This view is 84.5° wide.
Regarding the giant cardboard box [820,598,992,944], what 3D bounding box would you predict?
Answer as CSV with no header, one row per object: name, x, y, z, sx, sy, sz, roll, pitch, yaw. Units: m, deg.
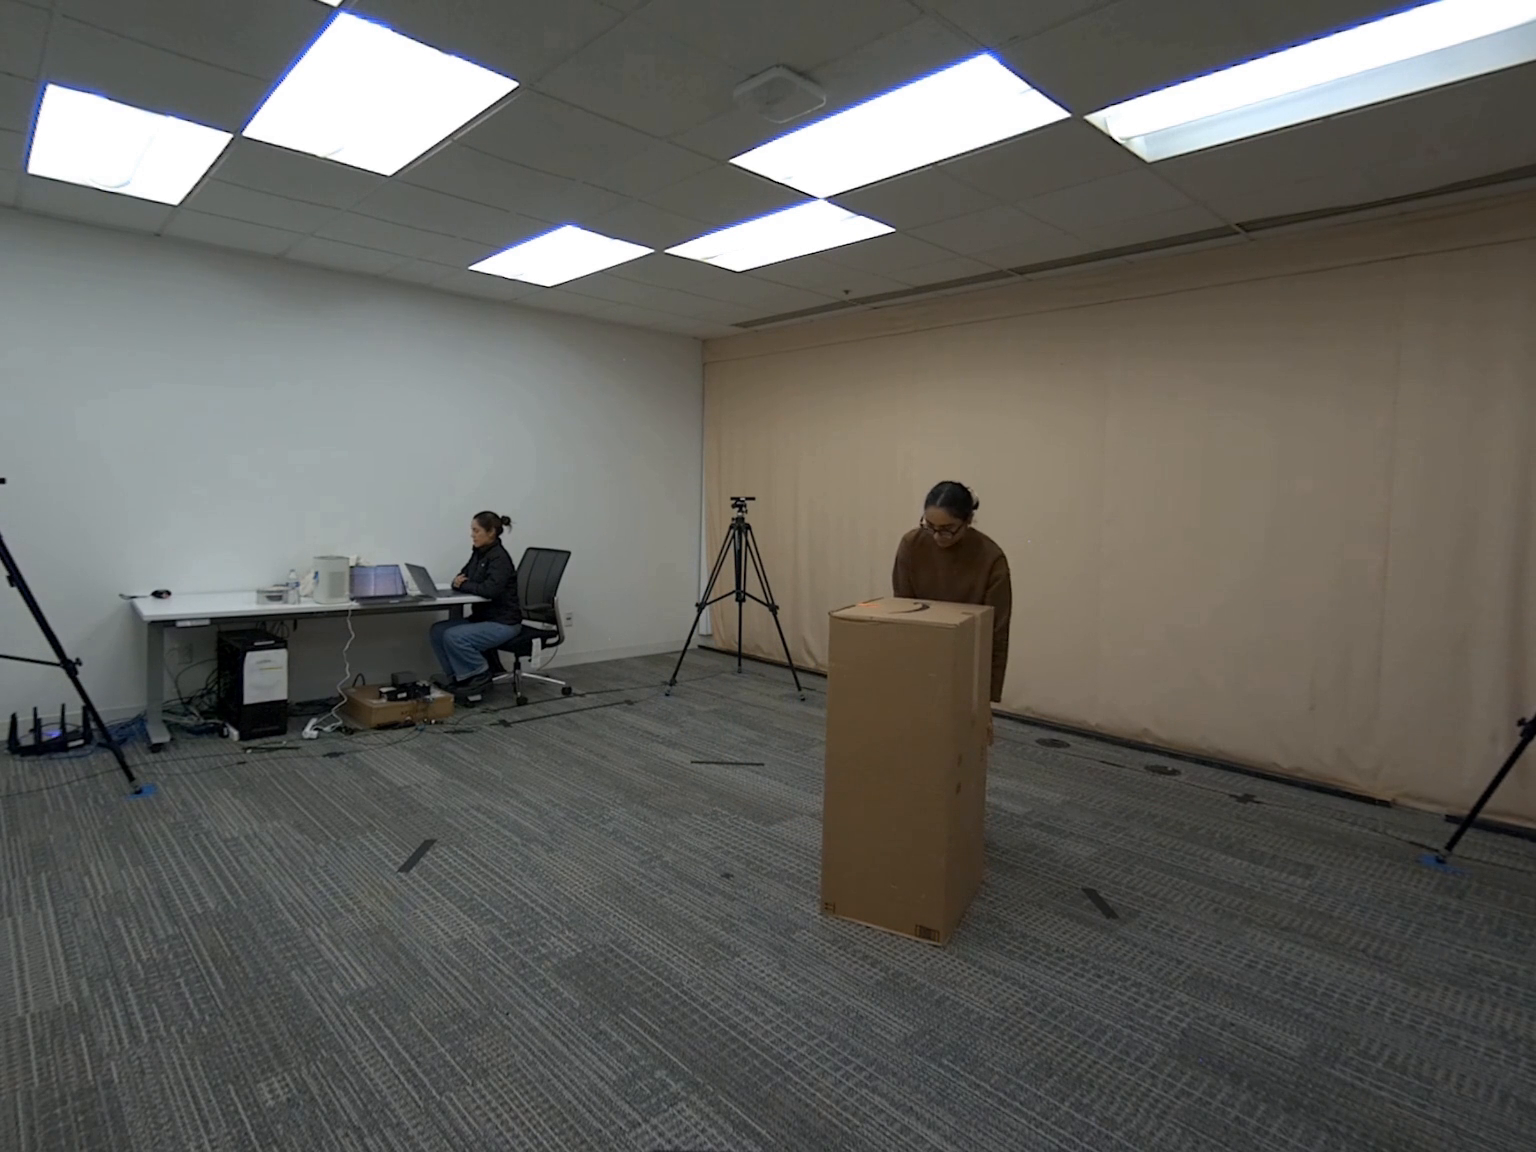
giant cardboard box,0.491,0.626,2.954,0.435,1.023,0.567,3,4,27
